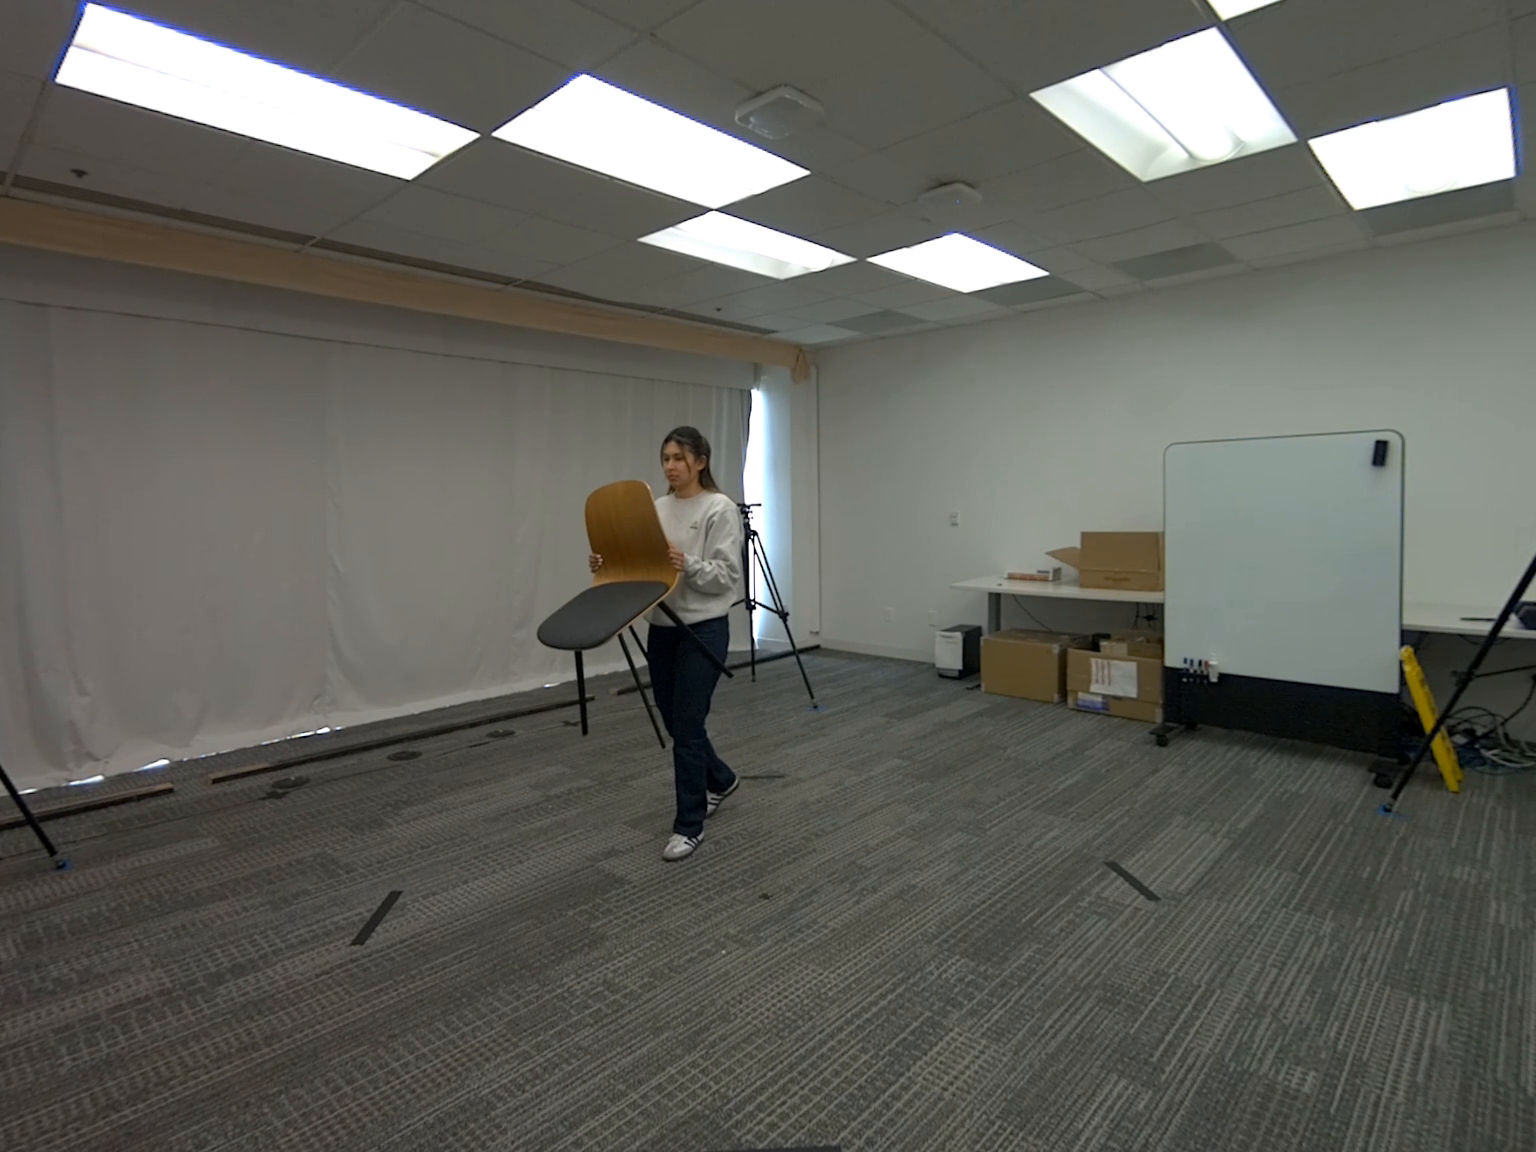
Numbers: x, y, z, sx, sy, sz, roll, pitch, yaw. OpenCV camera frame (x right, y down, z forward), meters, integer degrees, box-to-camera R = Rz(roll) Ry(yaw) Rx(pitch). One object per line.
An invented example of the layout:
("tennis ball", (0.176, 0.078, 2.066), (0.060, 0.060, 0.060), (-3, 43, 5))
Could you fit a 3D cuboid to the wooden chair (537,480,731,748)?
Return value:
("wooden chair", (-0.559, 0.145, 3.144), (0.493, 0.864, 0.515), (-3, 22, 40))
